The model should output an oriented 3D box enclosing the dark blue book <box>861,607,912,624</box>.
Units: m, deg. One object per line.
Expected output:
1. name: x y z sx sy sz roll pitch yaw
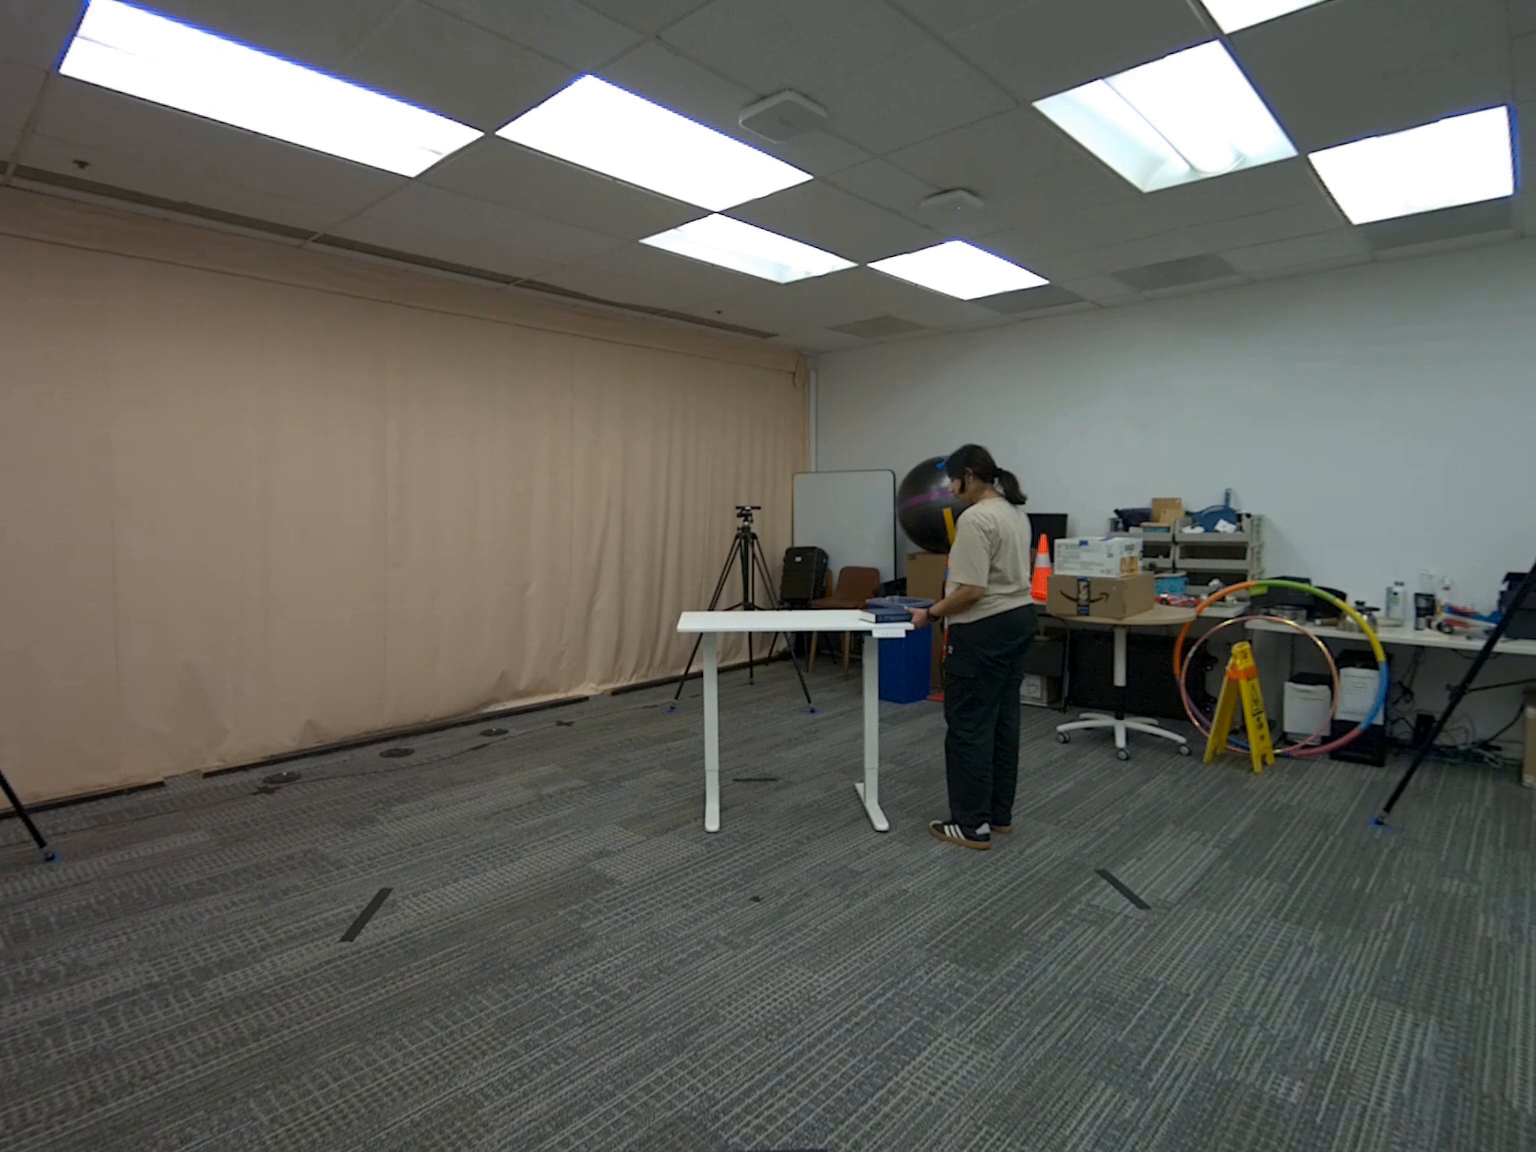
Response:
1. dark blue book: 0.568 0.179 3.740 0.241 0.045 0.166 -1 5 -16
